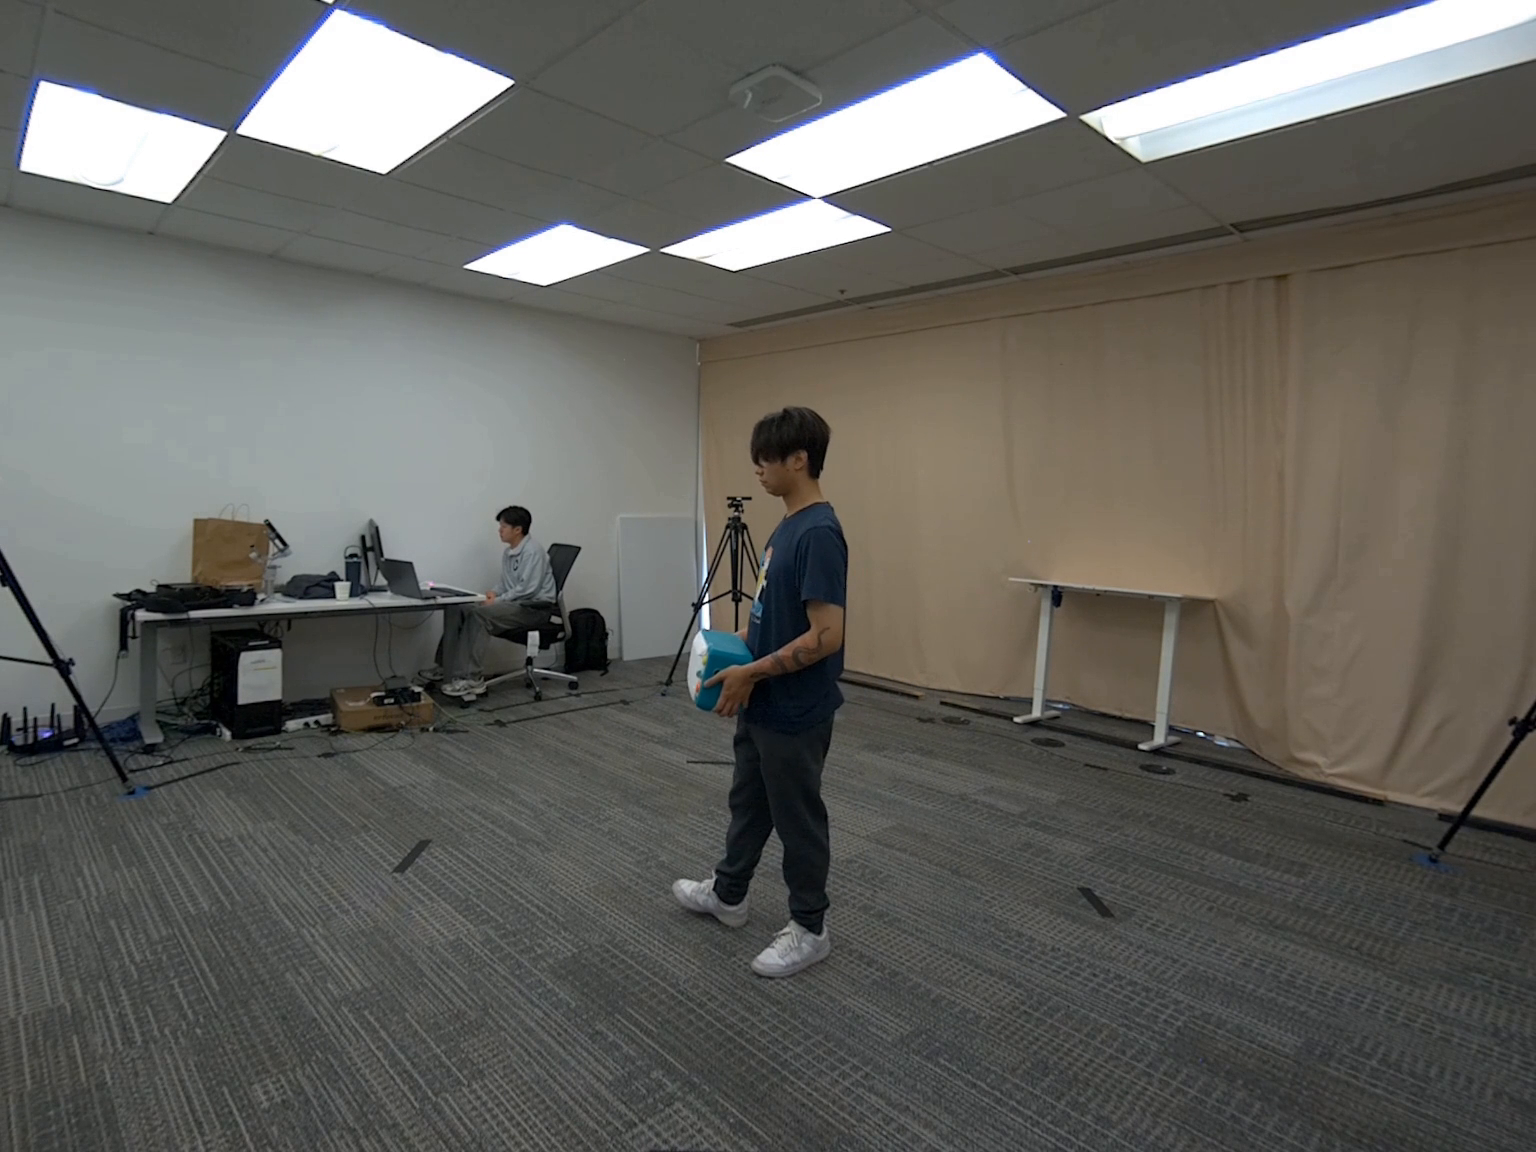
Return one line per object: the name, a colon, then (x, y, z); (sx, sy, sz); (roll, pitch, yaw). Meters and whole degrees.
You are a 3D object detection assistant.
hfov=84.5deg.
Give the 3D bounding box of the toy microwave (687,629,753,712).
toy microwave: (-0.163, 0.270, 2.471); (0.151, 0.183, 0.289); (14, 6, -10)
